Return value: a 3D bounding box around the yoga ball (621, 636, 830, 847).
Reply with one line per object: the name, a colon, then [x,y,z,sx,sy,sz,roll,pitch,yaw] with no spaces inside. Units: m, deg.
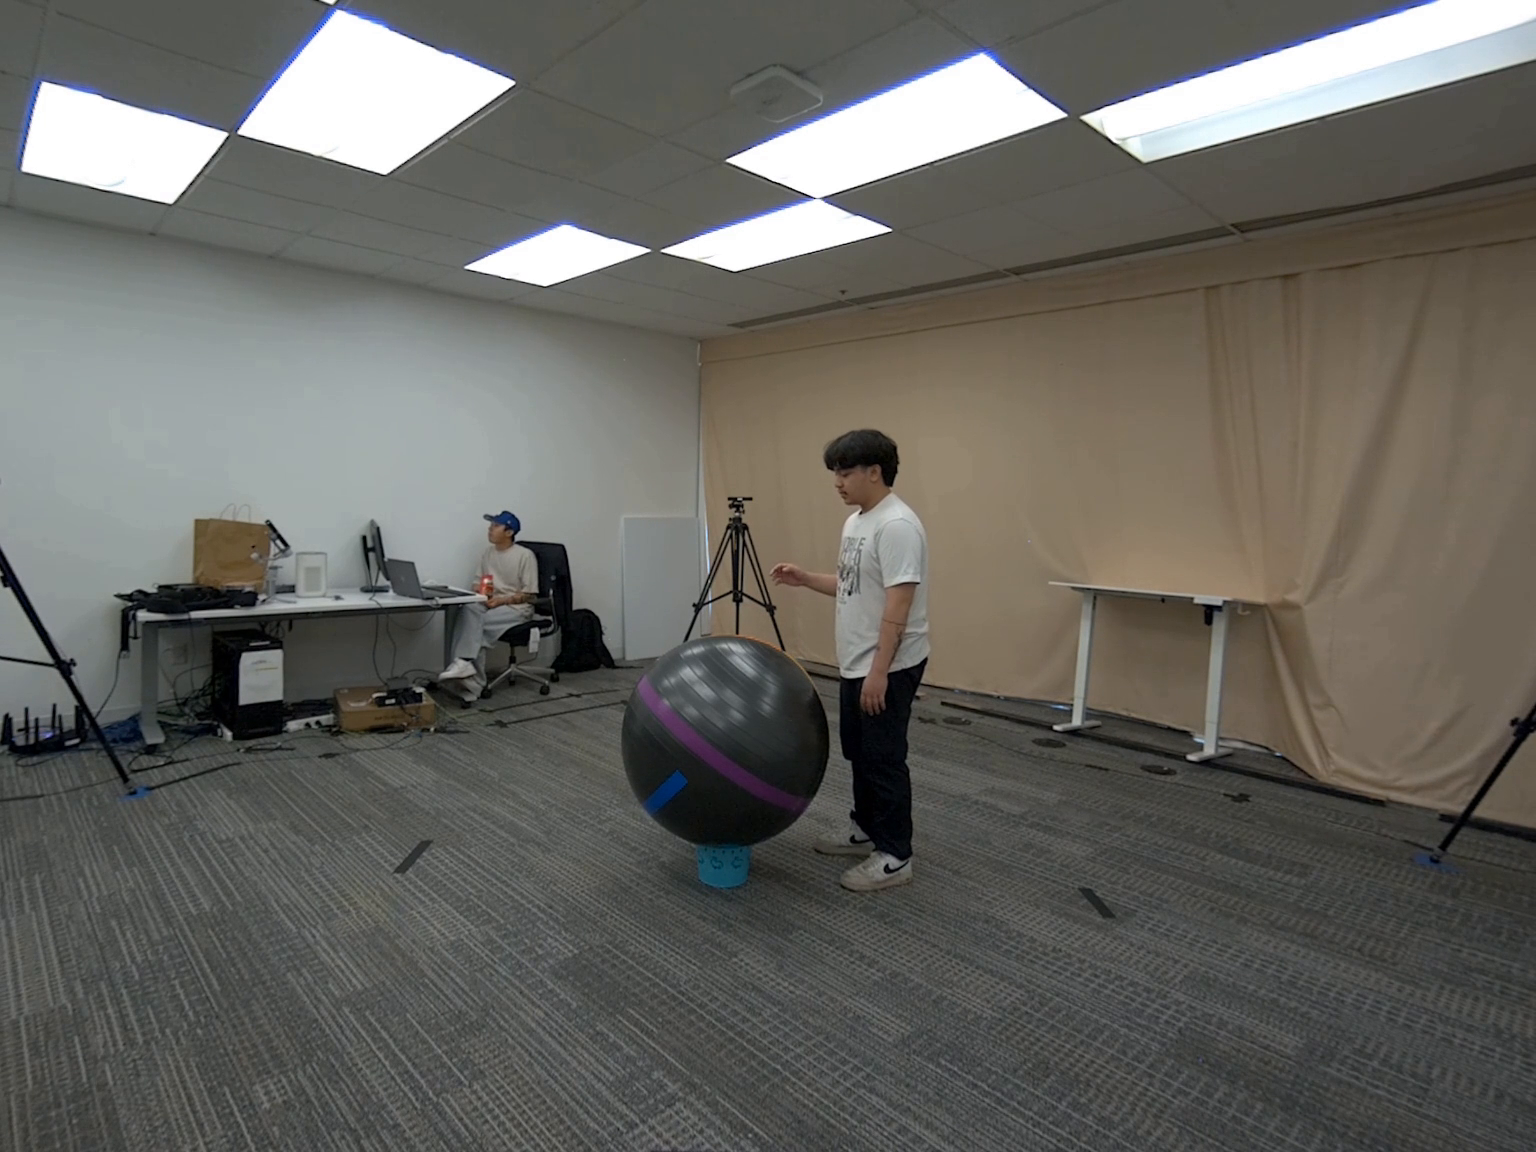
yoga ball: [-0.165,0.600,3.086,0.757,0.756,0.761,1,4,-1]
